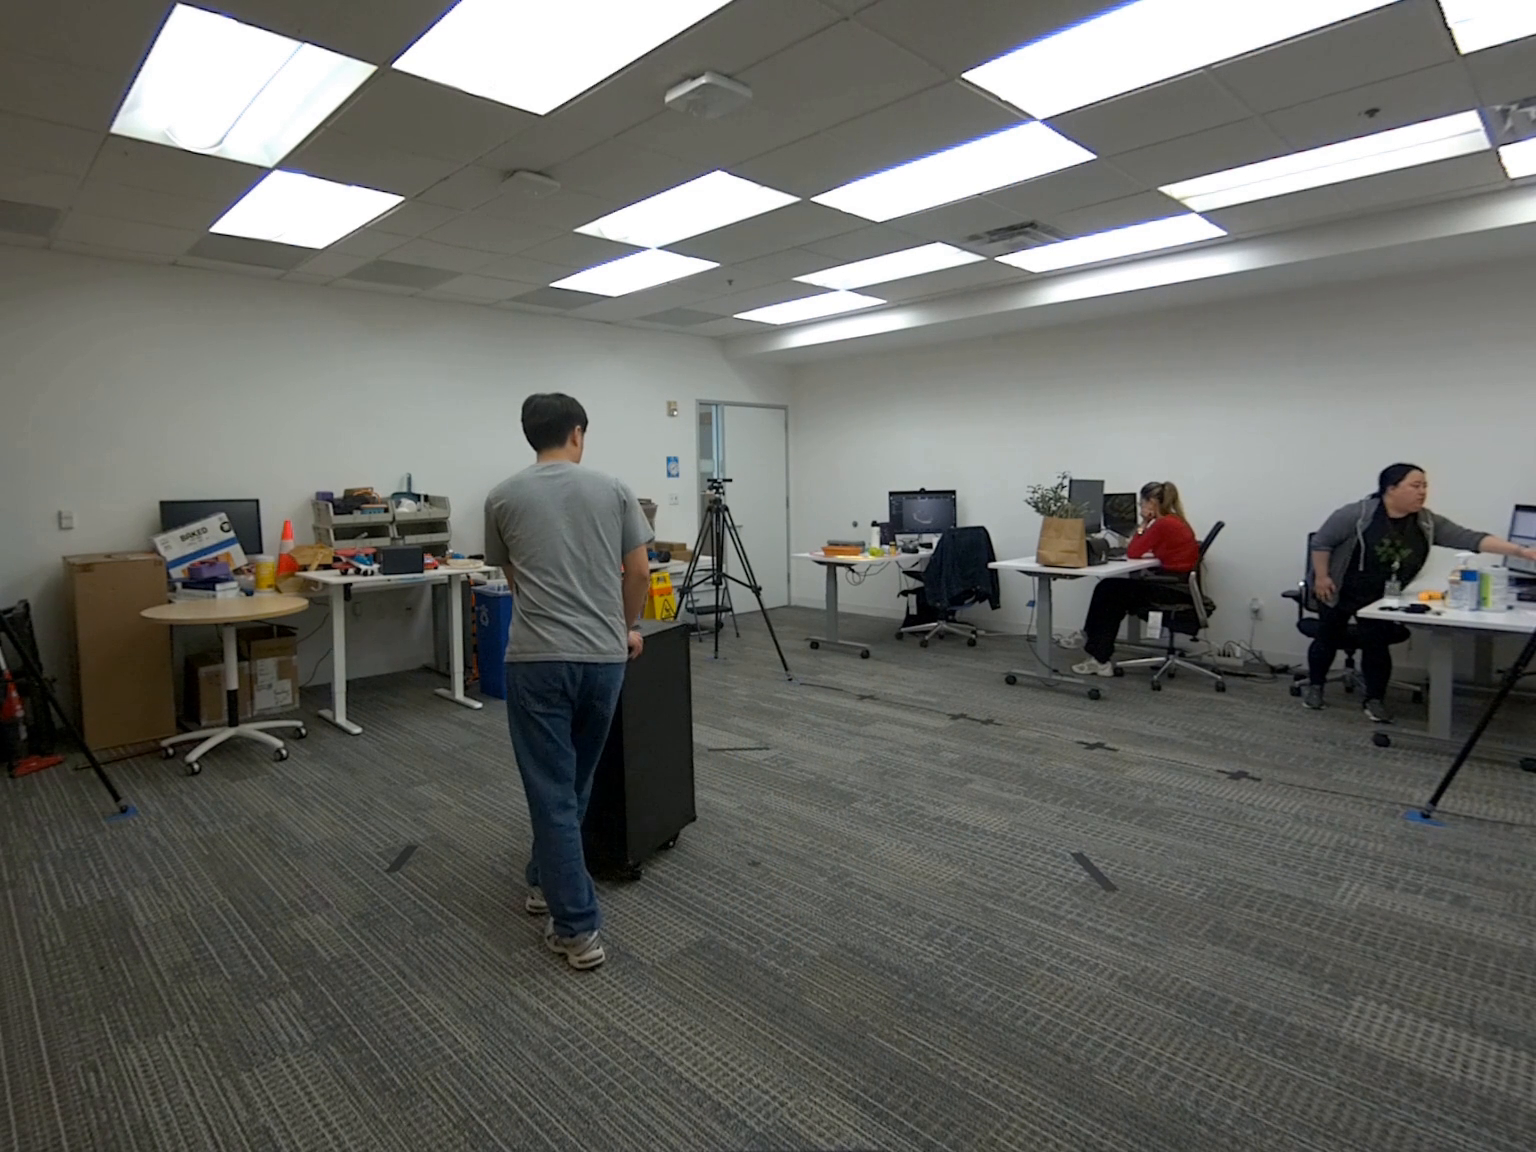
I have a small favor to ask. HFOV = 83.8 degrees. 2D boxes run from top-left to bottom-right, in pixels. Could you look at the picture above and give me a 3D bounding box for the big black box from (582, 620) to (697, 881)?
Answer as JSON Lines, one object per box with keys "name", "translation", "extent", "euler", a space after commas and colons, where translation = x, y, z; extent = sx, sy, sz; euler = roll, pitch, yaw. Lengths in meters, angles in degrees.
{"name": "big black box", "translation": [-0.556, 0.623, 3.184], "extent": [0.406, 0.858, 0.511], "euler": [0, 5, 26]}
